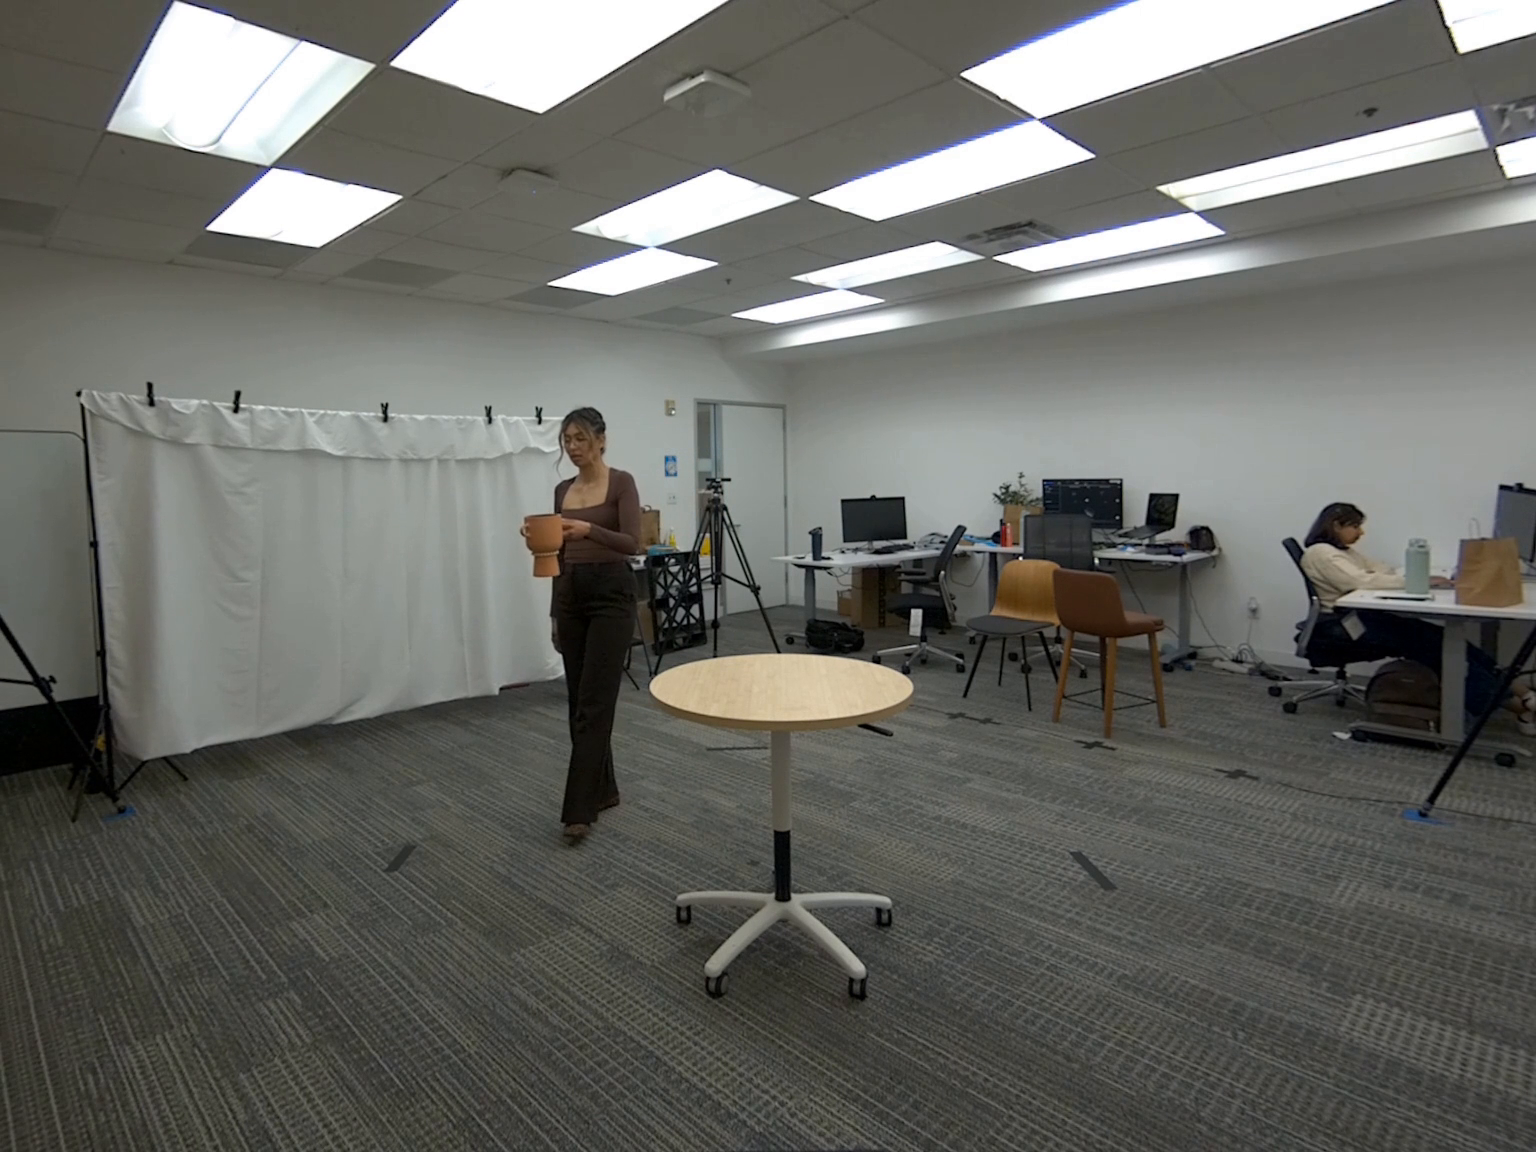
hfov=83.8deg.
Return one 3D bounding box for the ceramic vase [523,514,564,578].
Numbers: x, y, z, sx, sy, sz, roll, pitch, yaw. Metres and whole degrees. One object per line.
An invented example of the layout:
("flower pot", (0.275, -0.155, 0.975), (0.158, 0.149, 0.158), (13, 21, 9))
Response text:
("ceramic vase", (-0.816, -0.111, 3.110), (0.157, 0.218, 0.137), (-3, 7, -11))
